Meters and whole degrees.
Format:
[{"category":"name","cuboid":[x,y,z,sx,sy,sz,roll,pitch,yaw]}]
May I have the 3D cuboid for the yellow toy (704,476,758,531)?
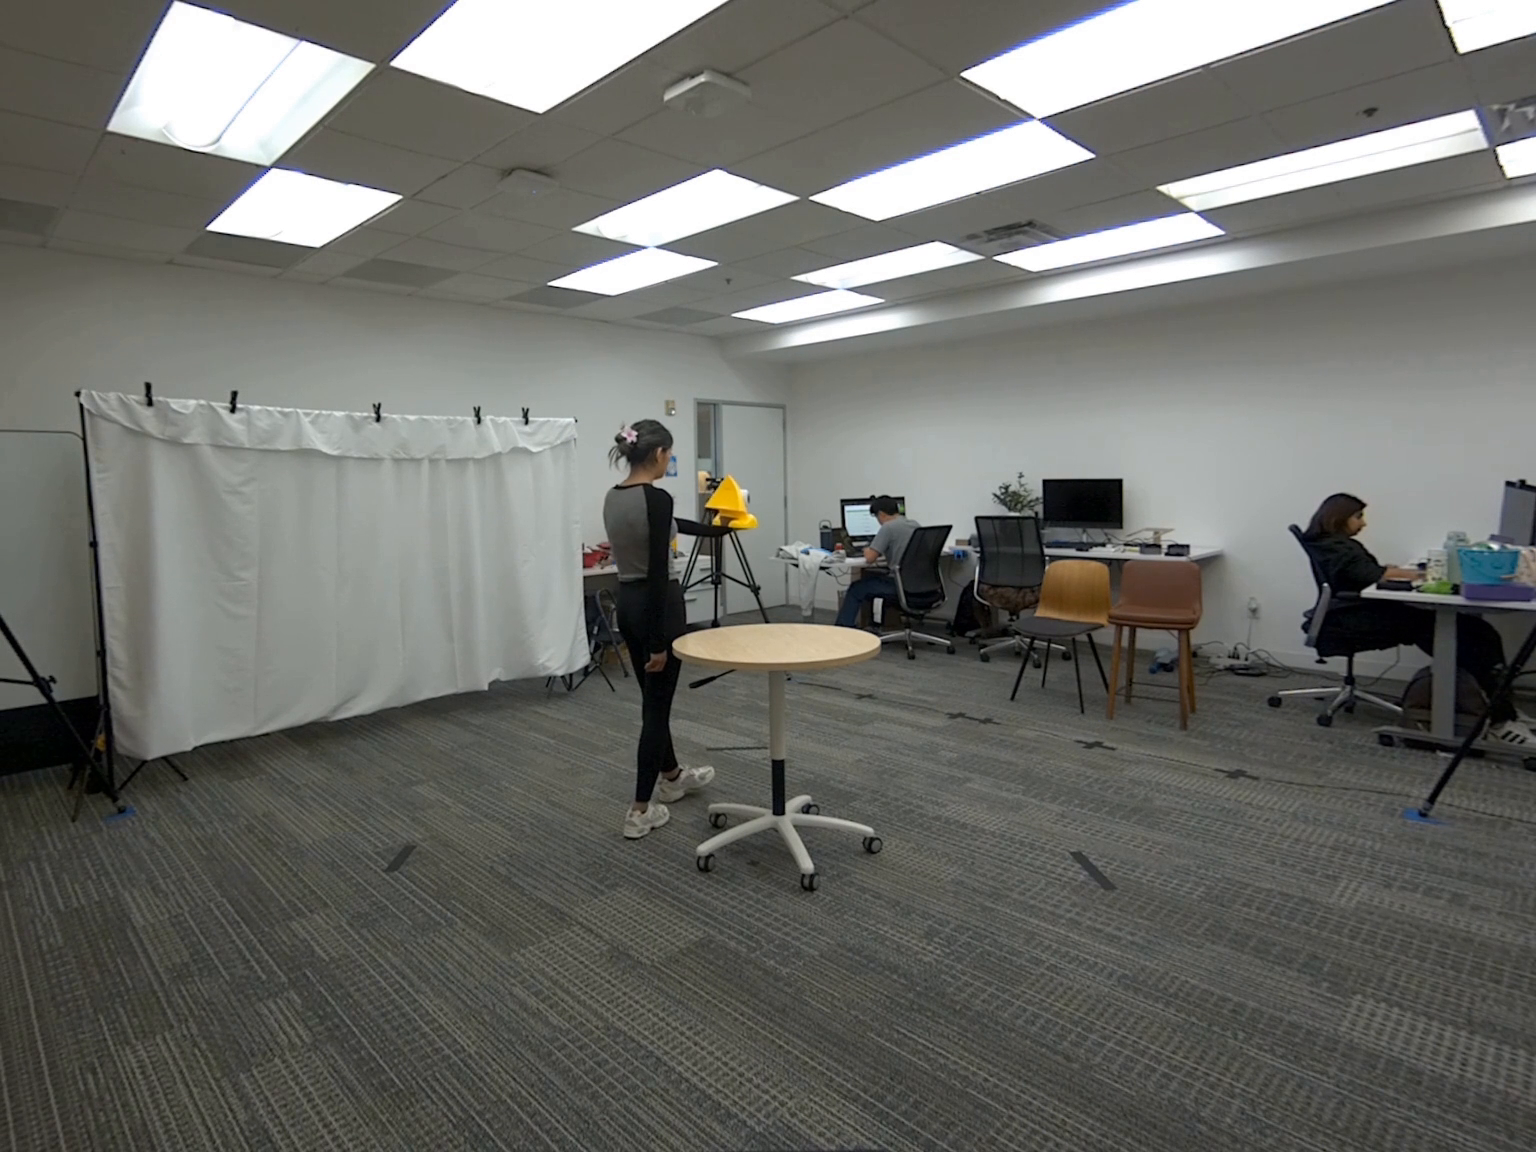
[{"category":"yellow toy","cuboid":[-0.146,-0.343,3.855,0.211,0.229,0.188,8,9,37]}]
